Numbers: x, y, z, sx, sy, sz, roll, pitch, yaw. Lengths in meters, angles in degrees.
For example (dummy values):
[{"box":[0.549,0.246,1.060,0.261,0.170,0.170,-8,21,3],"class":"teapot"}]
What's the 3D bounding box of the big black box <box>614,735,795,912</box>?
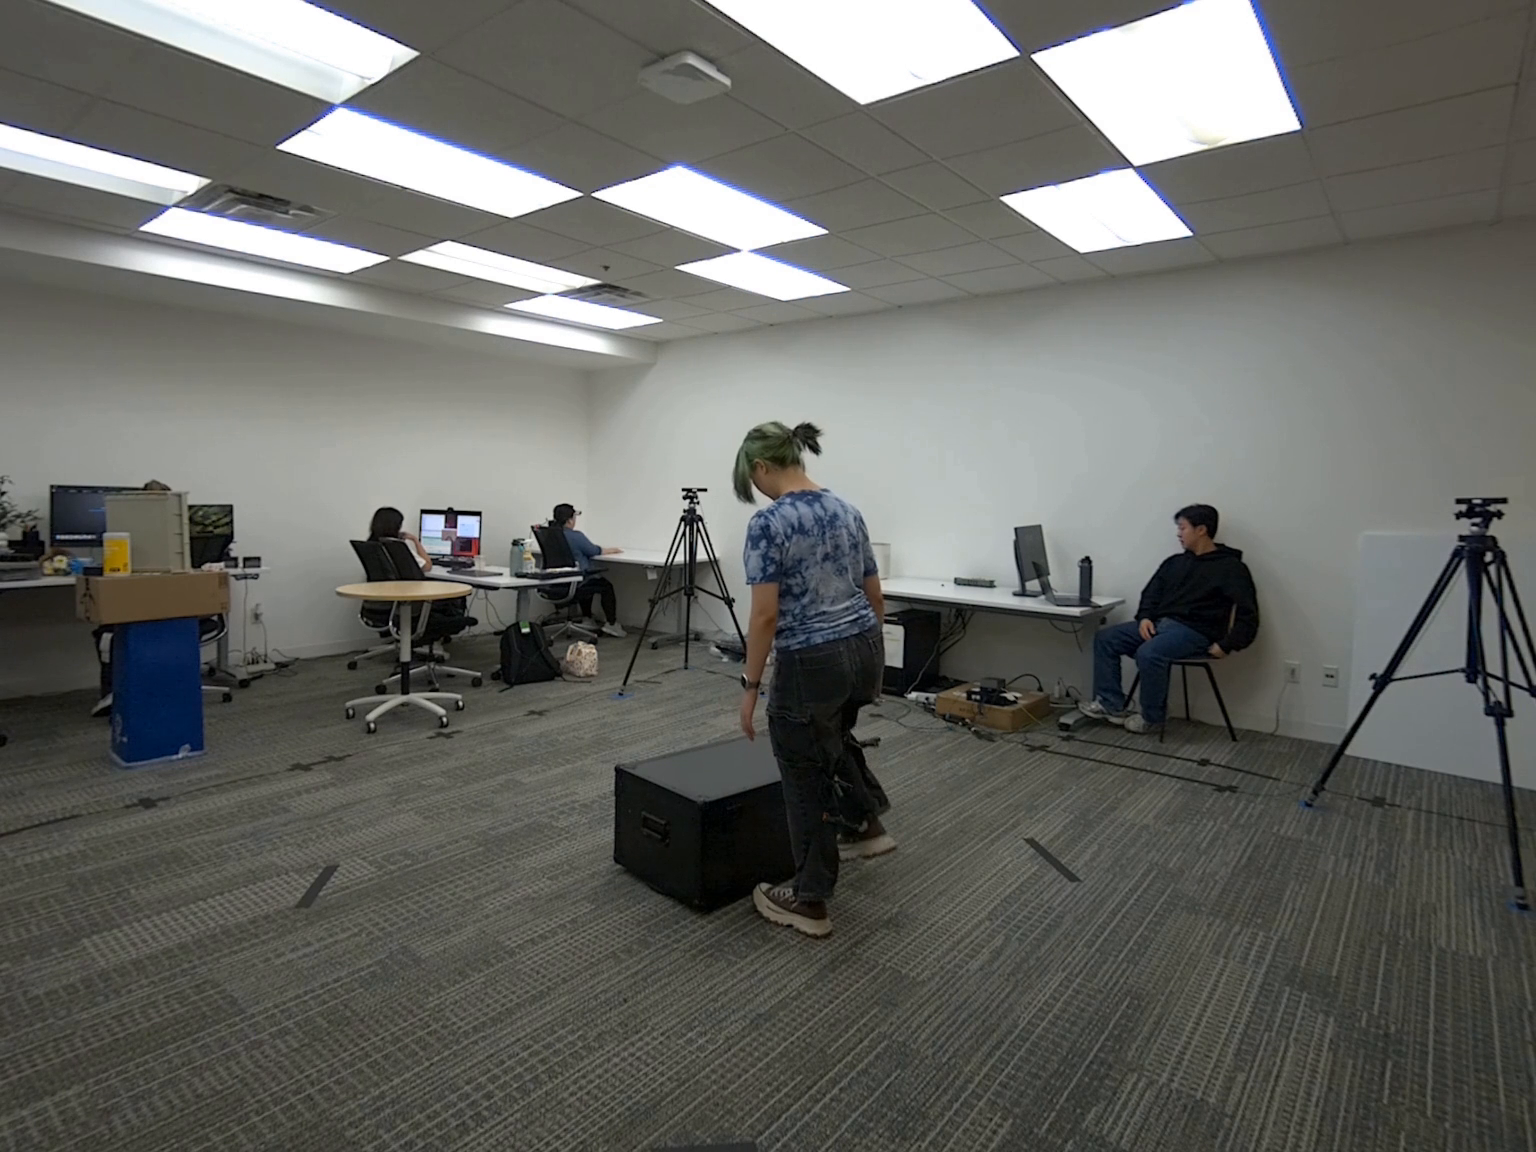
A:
[{"box":[-0.104,0.874,3.194,0.836,0.394,0.539,-5,7,-44],"class":"big black box"}]
